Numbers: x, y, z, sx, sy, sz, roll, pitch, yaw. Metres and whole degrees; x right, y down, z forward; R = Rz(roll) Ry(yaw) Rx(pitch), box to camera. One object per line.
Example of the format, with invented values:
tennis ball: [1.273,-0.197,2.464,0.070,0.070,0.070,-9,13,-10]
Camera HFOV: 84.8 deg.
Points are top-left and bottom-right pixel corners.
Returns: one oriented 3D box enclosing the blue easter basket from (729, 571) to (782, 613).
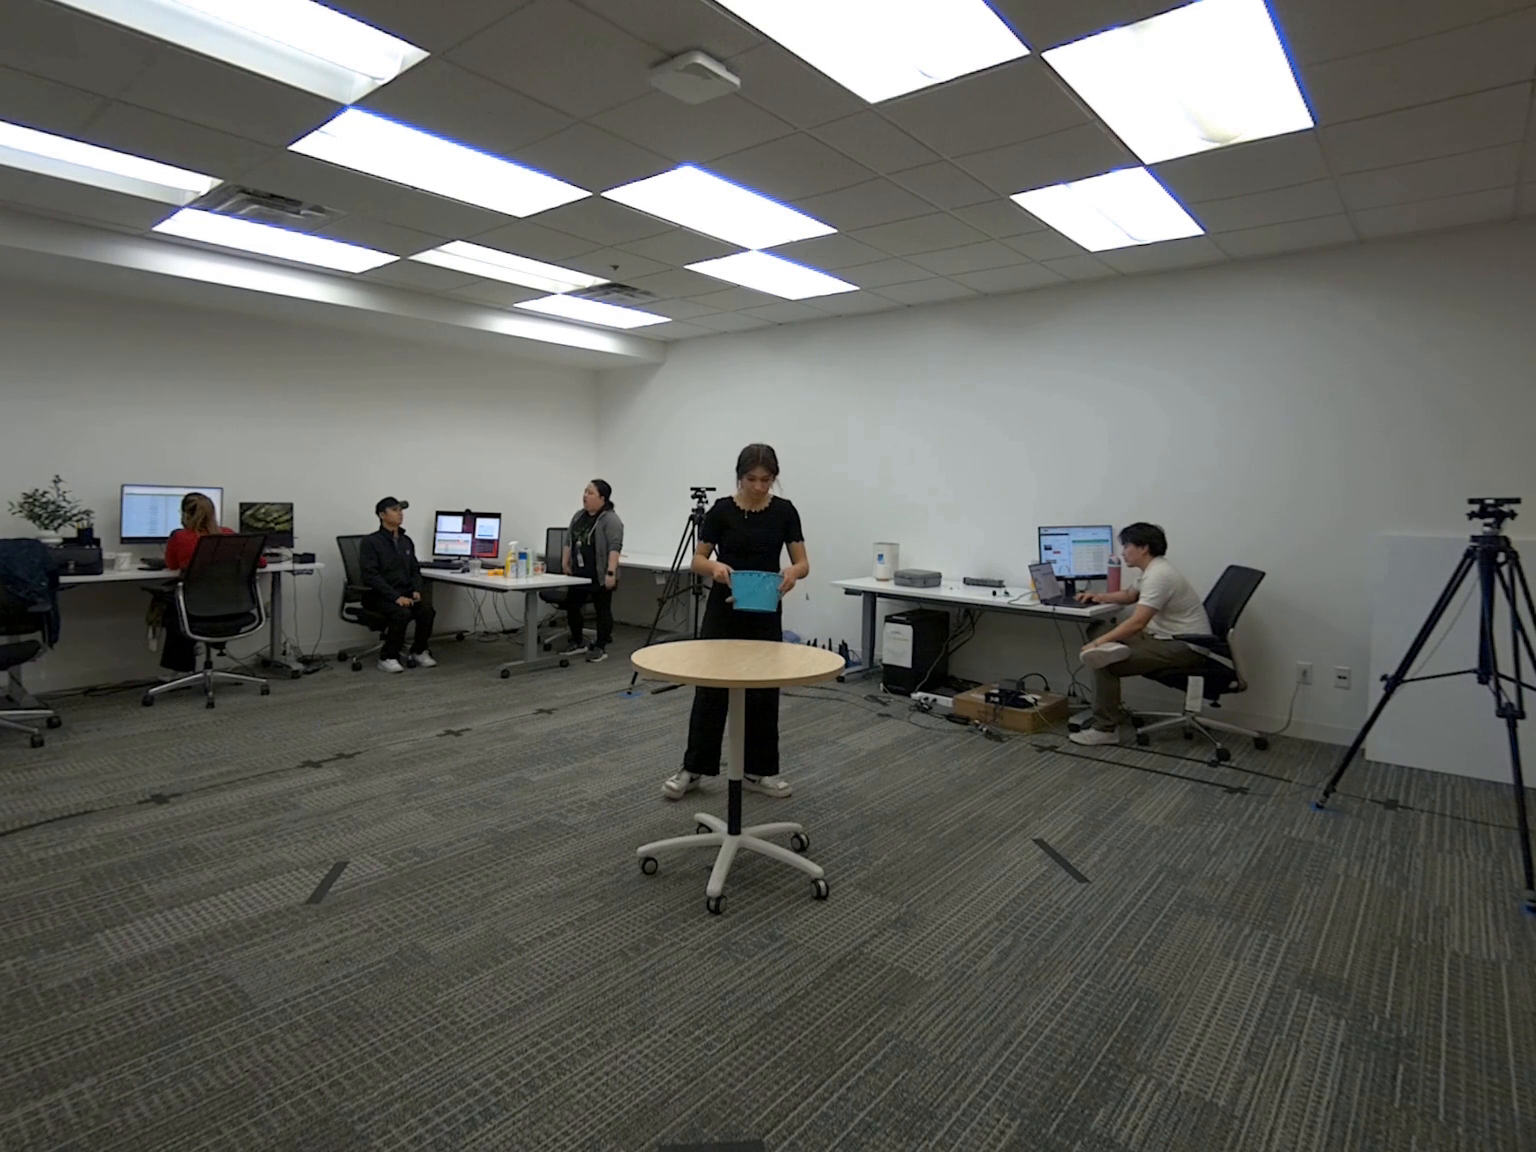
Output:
blue easter basket: [-0.059,0.065,3.611,0.243,0.156,0.243,4,-3,-2]
